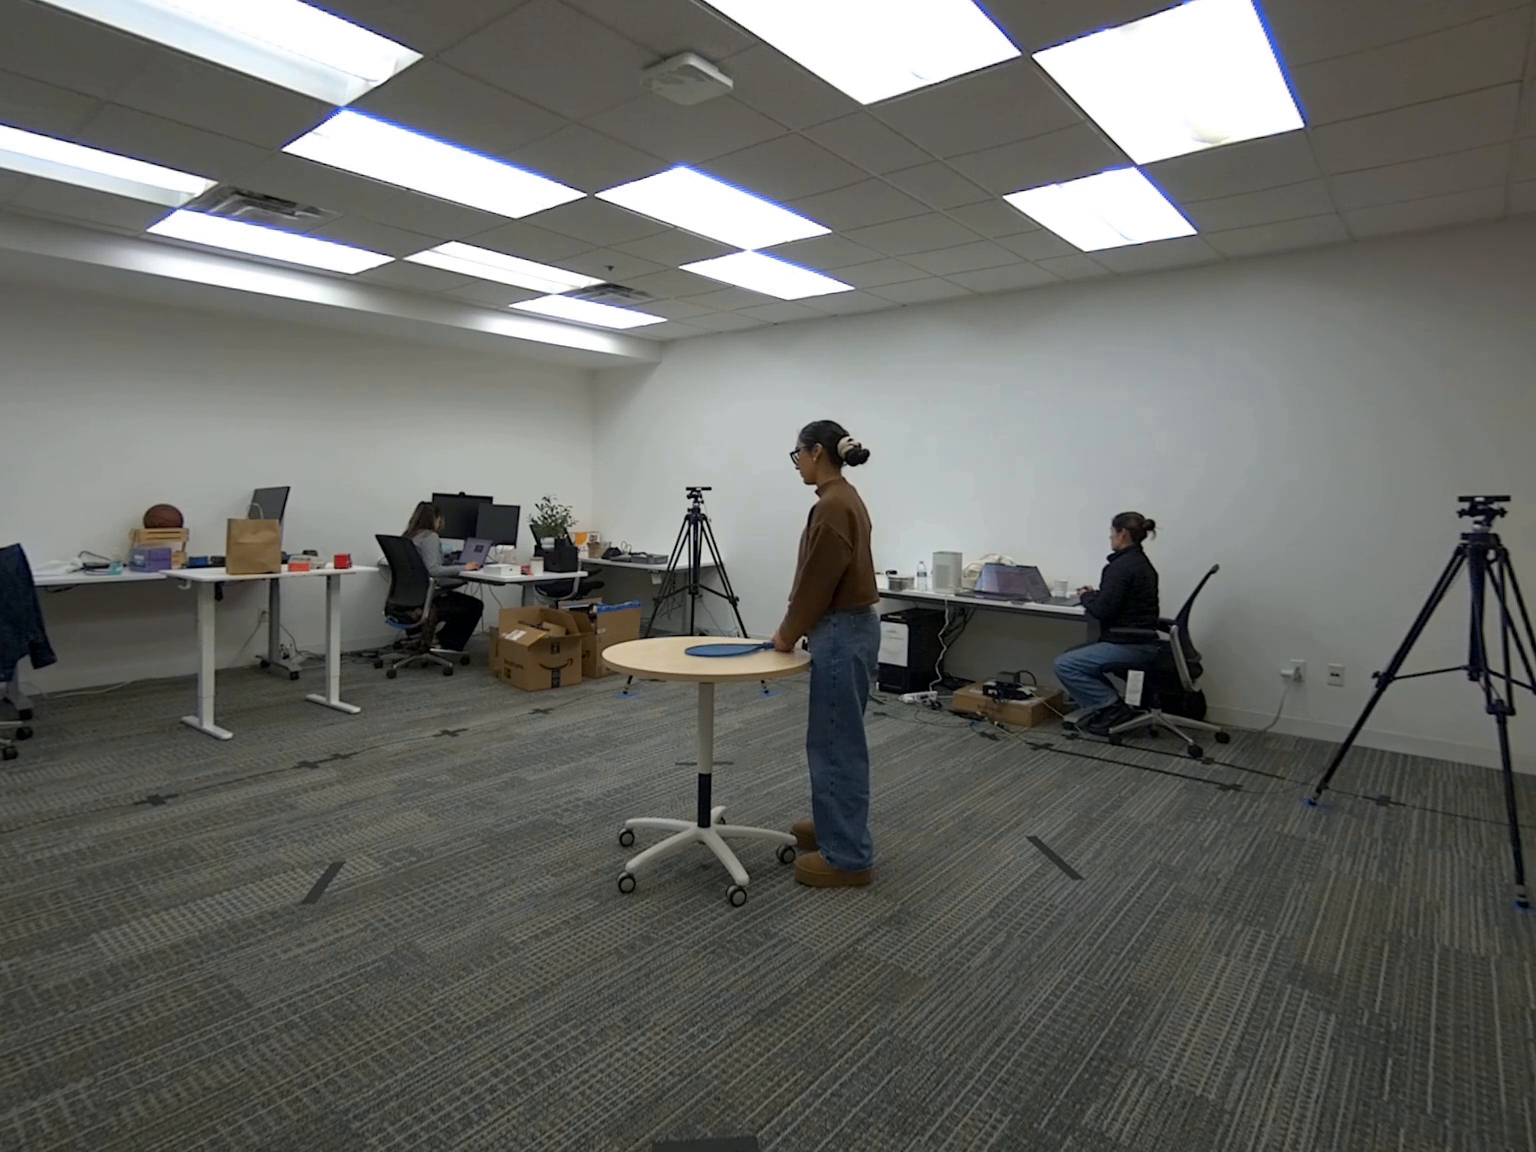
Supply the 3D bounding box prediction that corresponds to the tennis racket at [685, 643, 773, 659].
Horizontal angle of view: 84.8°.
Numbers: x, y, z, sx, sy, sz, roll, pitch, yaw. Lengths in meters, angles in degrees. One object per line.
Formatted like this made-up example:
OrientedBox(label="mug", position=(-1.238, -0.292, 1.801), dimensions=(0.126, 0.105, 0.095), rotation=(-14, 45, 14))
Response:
OrientedBox(label="tennis racket", position=(-0.110, 0.272, 3.188), dimensions=(0.425, 0.031, 0.218), rotation=(-3, 5, -18))
